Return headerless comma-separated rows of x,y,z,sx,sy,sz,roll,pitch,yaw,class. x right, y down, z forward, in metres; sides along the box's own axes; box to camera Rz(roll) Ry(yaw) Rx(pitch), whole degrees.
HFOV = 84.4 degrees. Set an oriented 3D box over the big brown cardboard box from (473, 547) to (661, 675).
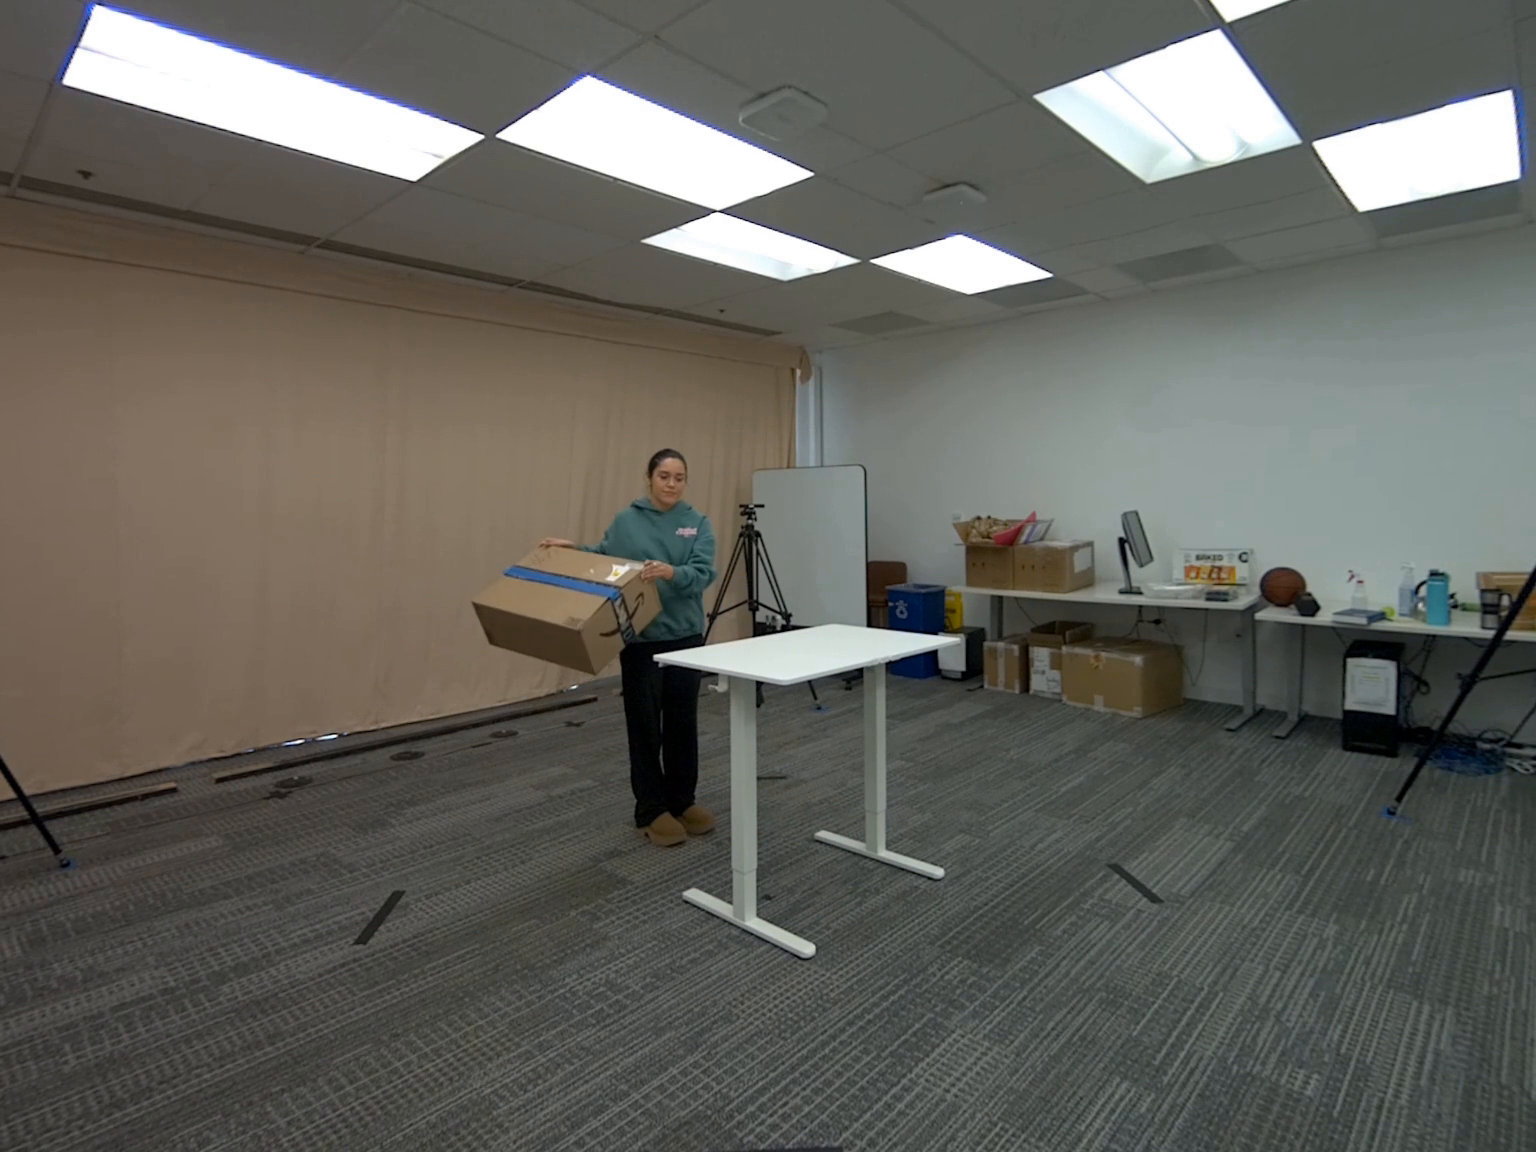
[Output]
-0.761,0.114,3.231,0.608,0.228,0.414,10,39,32,big brown cardboard box
